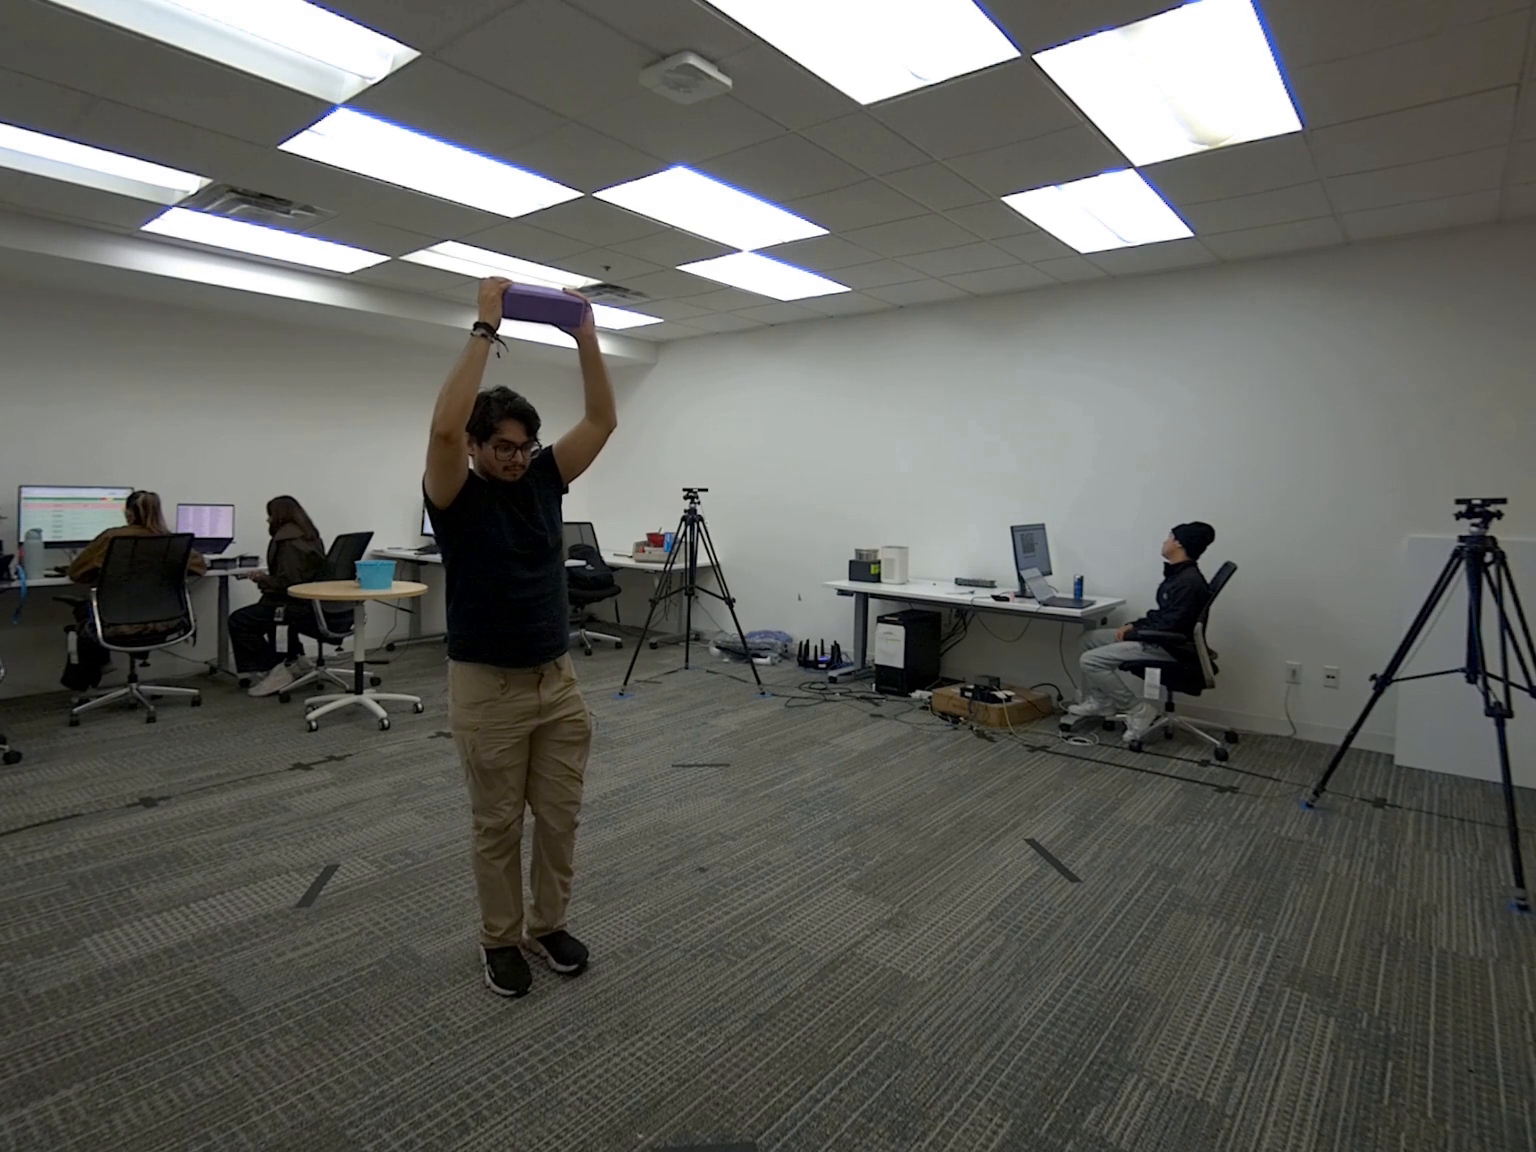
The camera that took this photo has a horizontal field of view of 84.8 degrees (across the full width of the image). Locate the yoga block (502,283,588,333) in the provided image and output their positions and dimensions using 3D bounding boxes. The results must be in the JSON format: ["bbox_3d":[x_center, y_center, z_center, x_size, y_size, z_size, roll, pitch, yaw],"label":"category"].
[{"bbox_3d":[-0.614,-0.697,2.167,0.223,0.075,0.155,-6,28,-42],"label":"yoga block"}]
